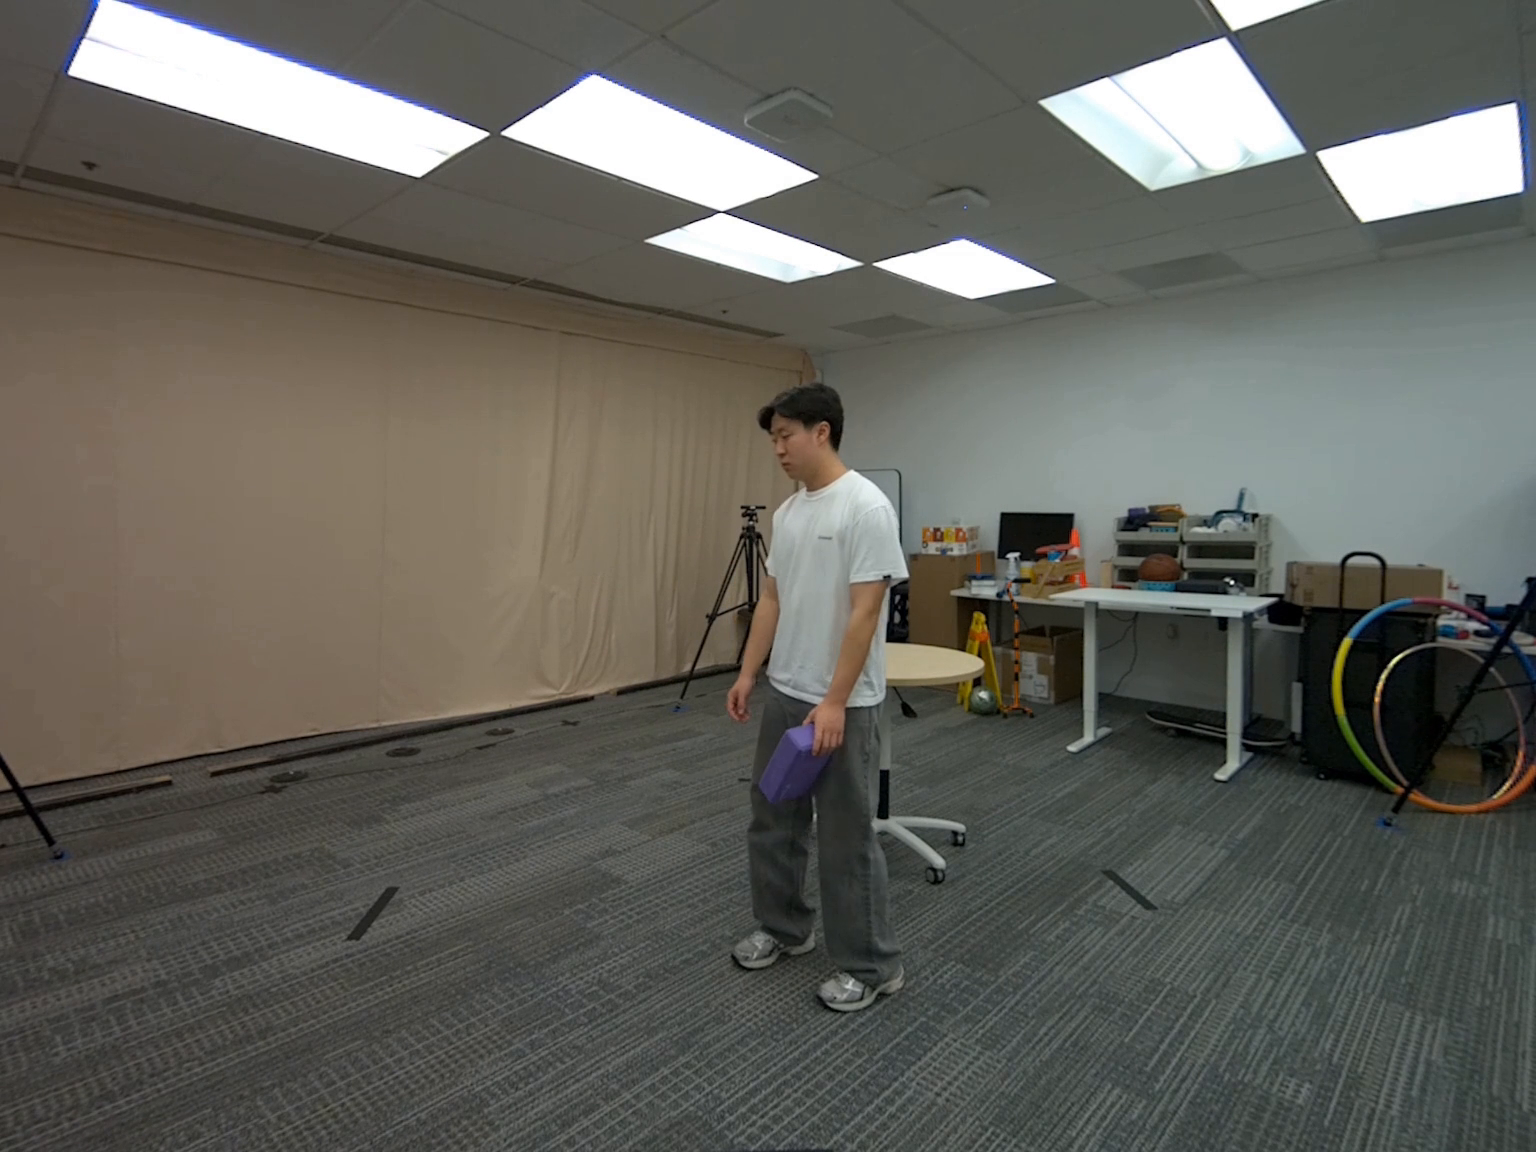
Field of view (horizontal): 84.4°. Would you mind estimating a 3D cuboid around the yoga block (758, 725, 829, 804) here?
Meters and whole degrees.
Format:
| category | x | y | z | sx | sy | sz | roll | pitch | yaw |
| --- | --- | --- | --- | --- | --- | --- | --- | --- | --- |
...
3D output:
| category | x | y | z | sx | sy | sz | roll | pitch | yaw |
| --- | --- | --- | --- | --- | --- | --- | --- | --- | --- |
| yoga block | 0.078 | 0.503 | 2.299 | 0.144 | 0.228 | 0.079 | -5 | 41 | -38 |
